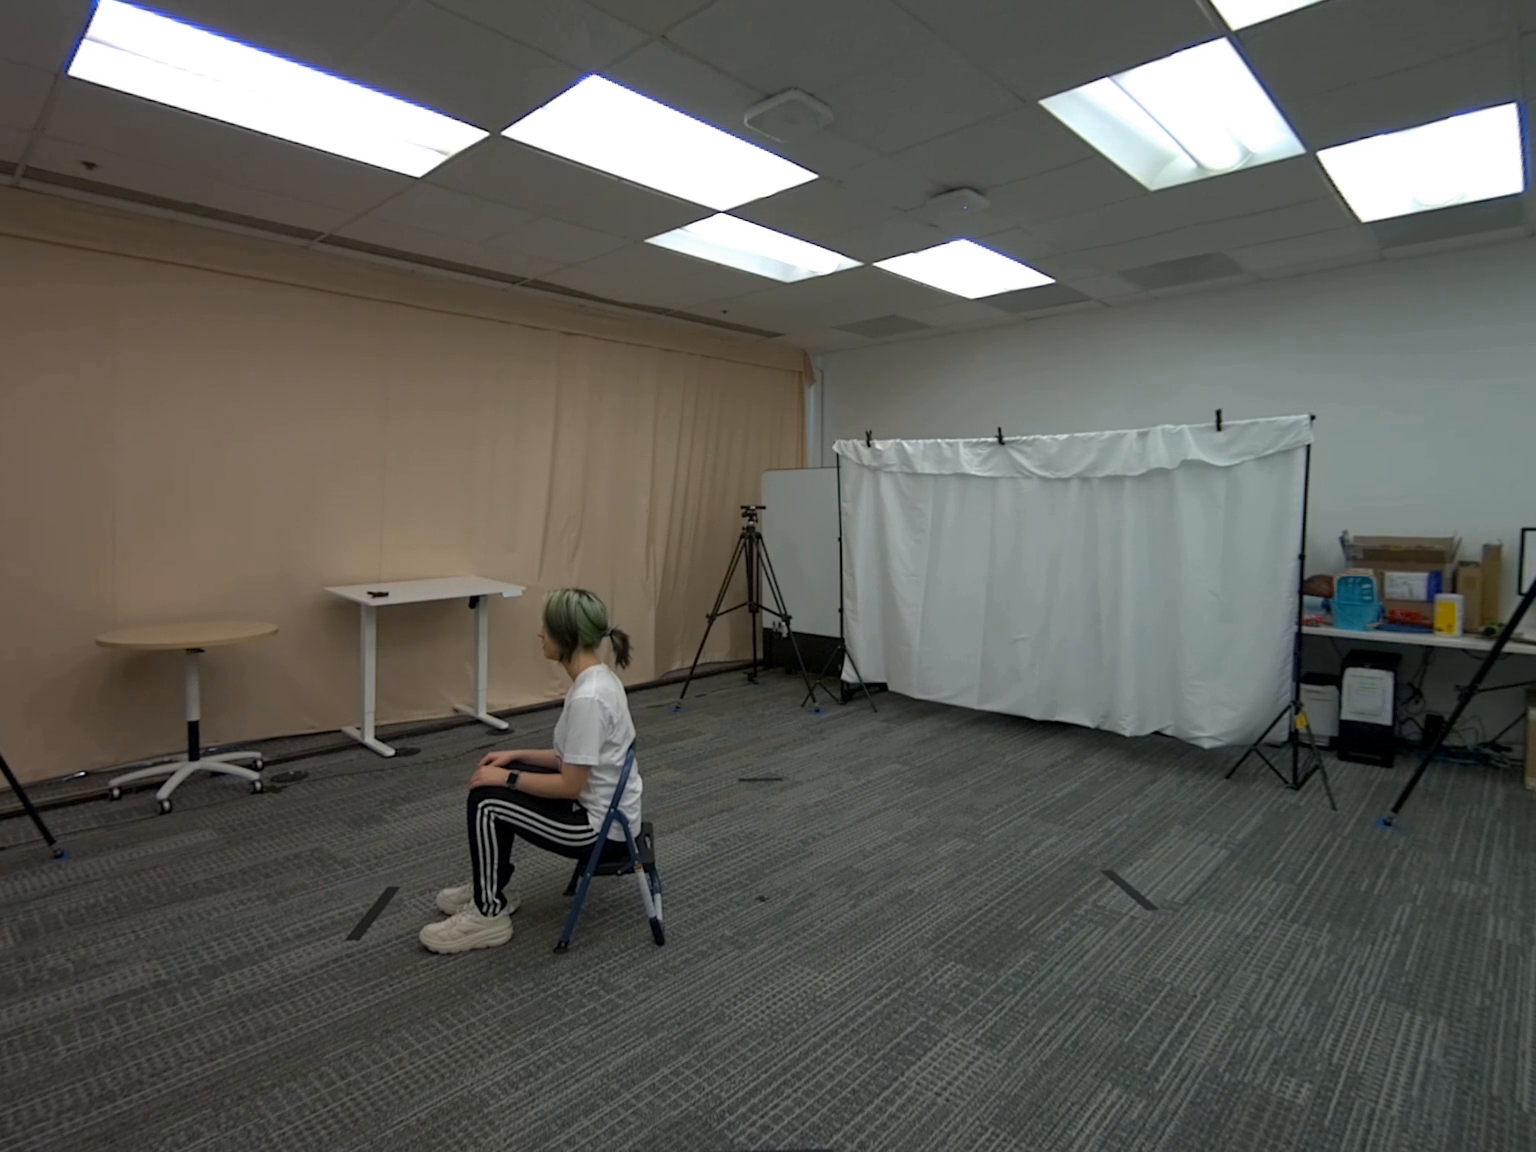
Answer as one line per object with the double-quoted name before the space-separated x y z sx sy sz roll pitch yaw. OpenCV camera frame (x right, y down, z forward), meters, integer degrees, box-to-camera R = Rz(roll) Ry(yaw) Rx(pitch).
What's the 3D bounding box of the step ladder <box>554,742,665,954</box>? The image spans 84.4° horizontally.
"step ladder" -0.530 0.866 2.832 0.346 0.605 0.435 -2 3 -8
